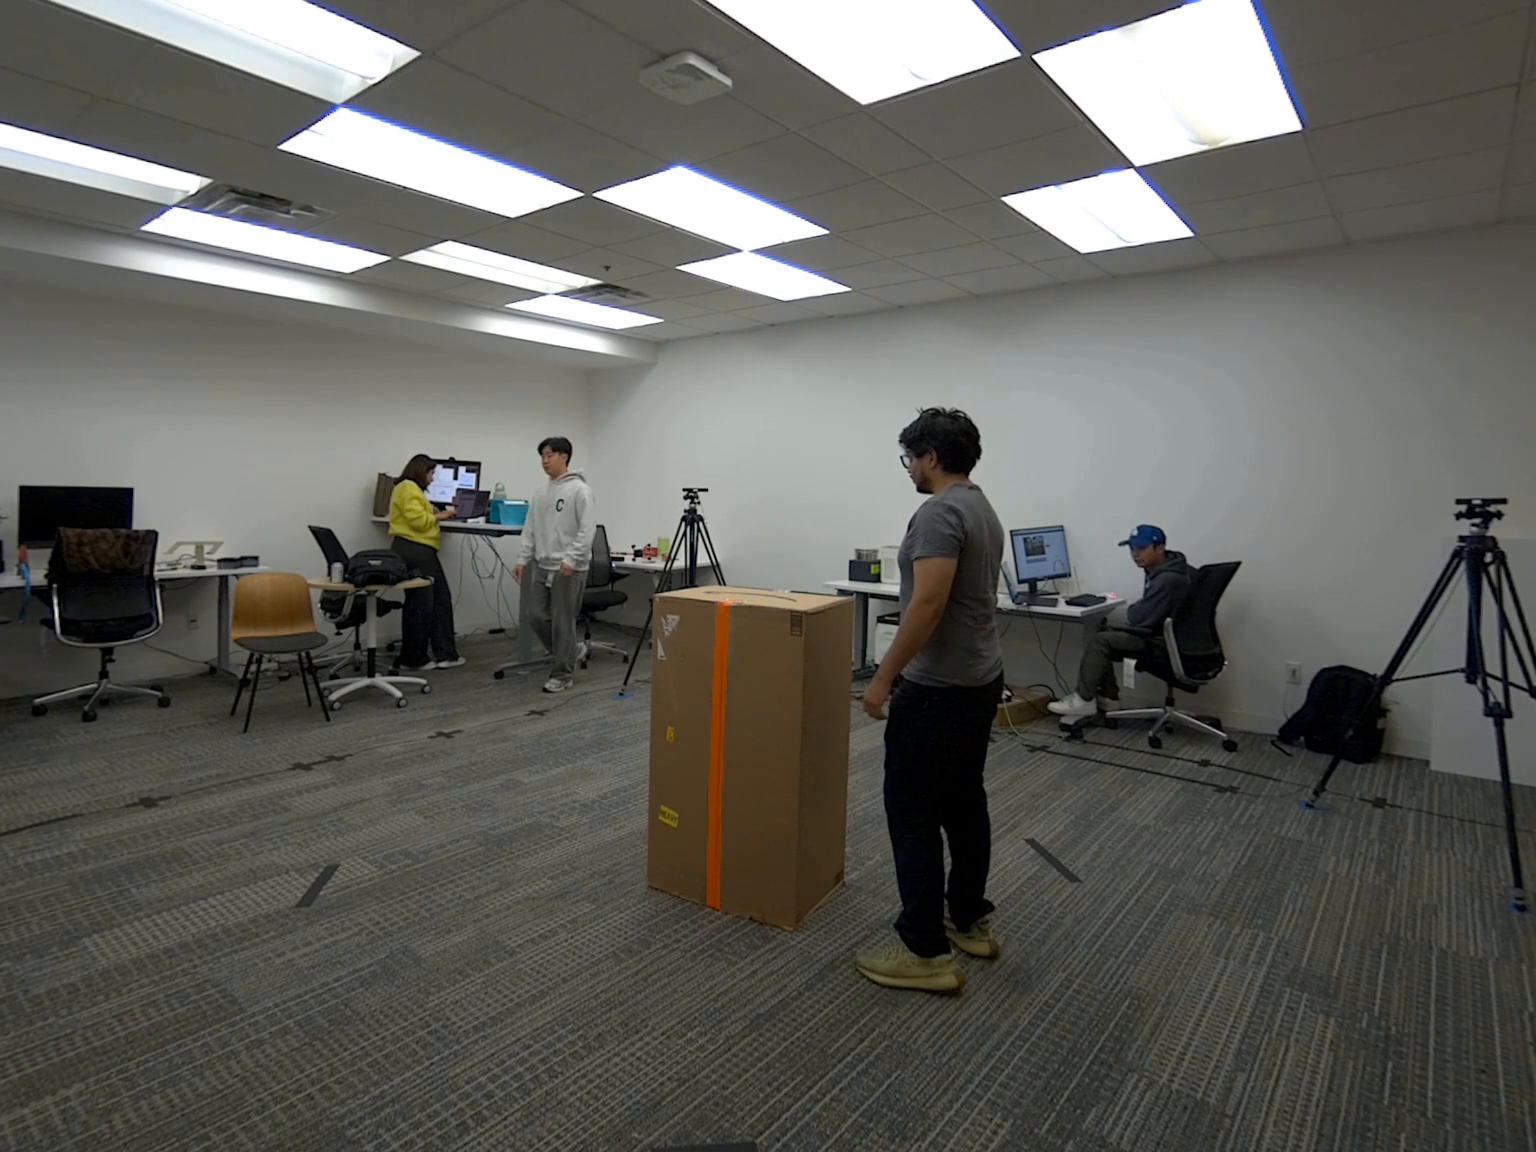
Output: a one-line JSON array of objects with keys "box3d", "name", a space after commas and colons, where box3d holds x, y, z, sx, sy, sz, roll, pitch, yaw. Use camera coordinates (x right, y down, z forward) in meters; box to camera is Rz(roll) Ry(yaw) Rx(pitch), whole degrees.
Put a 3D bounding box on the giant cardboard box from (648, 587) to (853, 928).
[{"box3d": [-0.070, 0.580, 2.972, 0.601, 1.025, 0.435, 3, 3, 29], "name": "giant cardboard box"}]
